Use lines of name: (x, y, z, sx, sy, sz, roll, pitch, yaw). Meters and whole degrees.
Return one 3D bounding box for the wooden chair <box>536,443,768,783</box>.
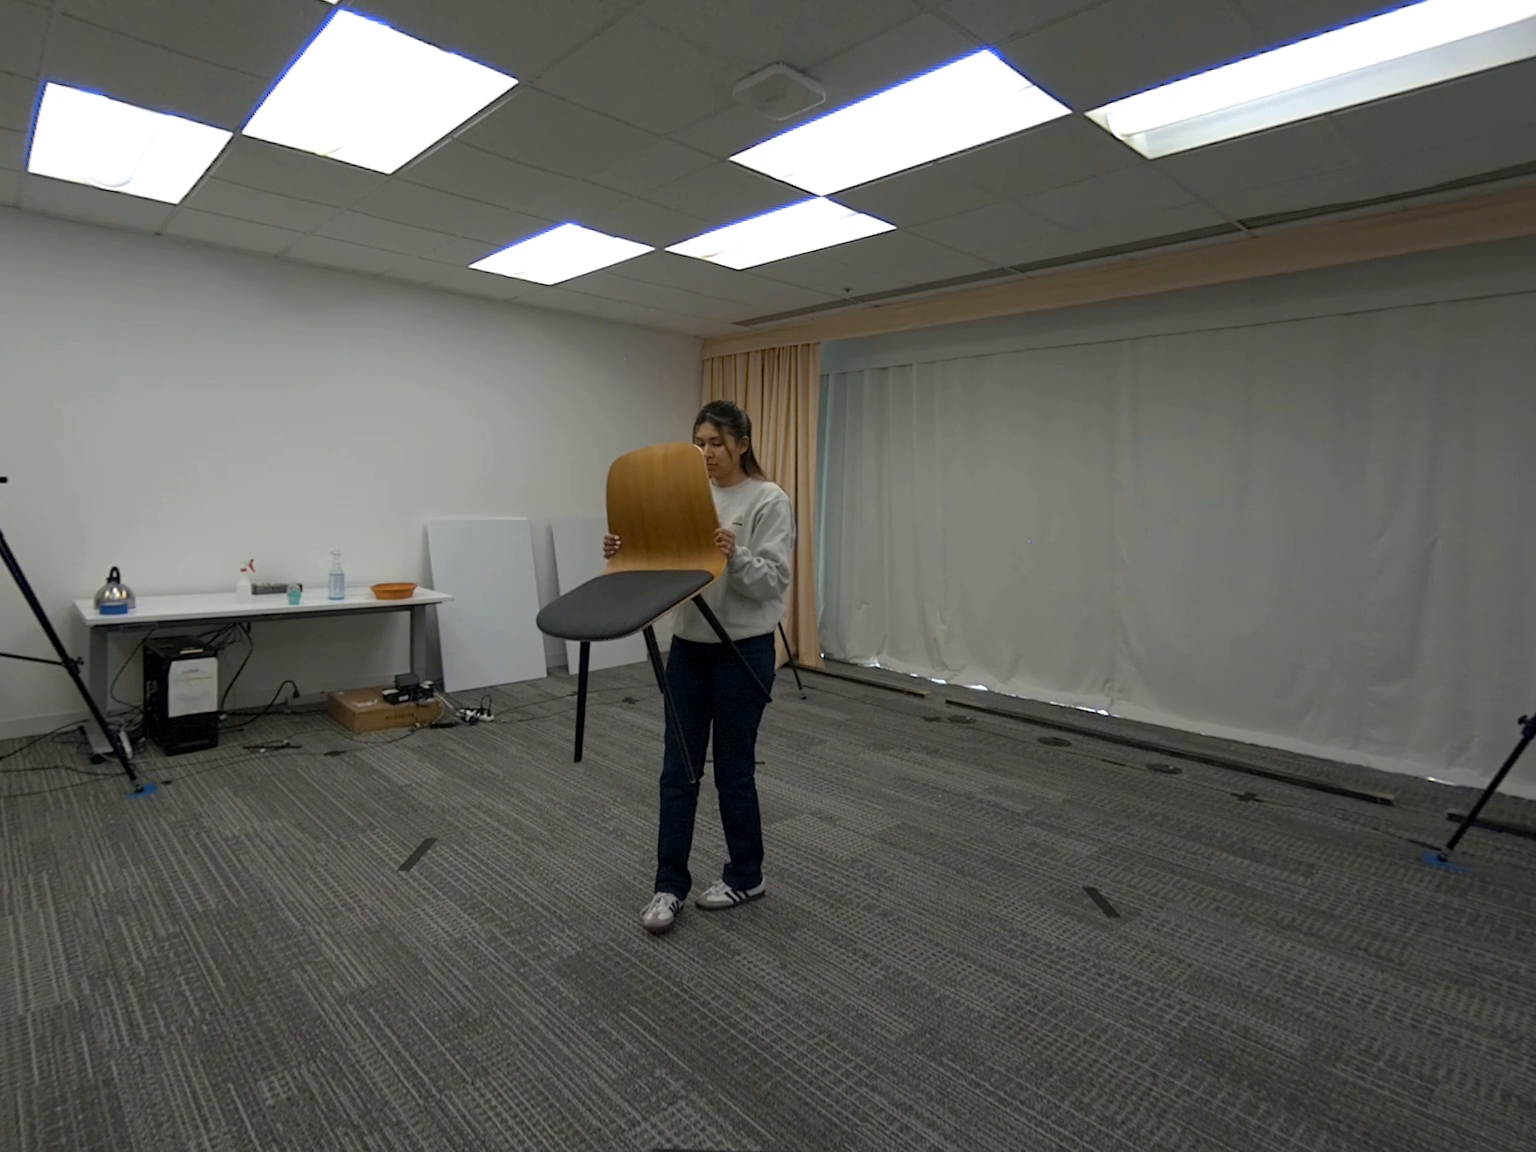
wooden chair: (-0.382, 0.092, 2.472, 0.488, 0.868, 0.517, -1, 15, 34)
